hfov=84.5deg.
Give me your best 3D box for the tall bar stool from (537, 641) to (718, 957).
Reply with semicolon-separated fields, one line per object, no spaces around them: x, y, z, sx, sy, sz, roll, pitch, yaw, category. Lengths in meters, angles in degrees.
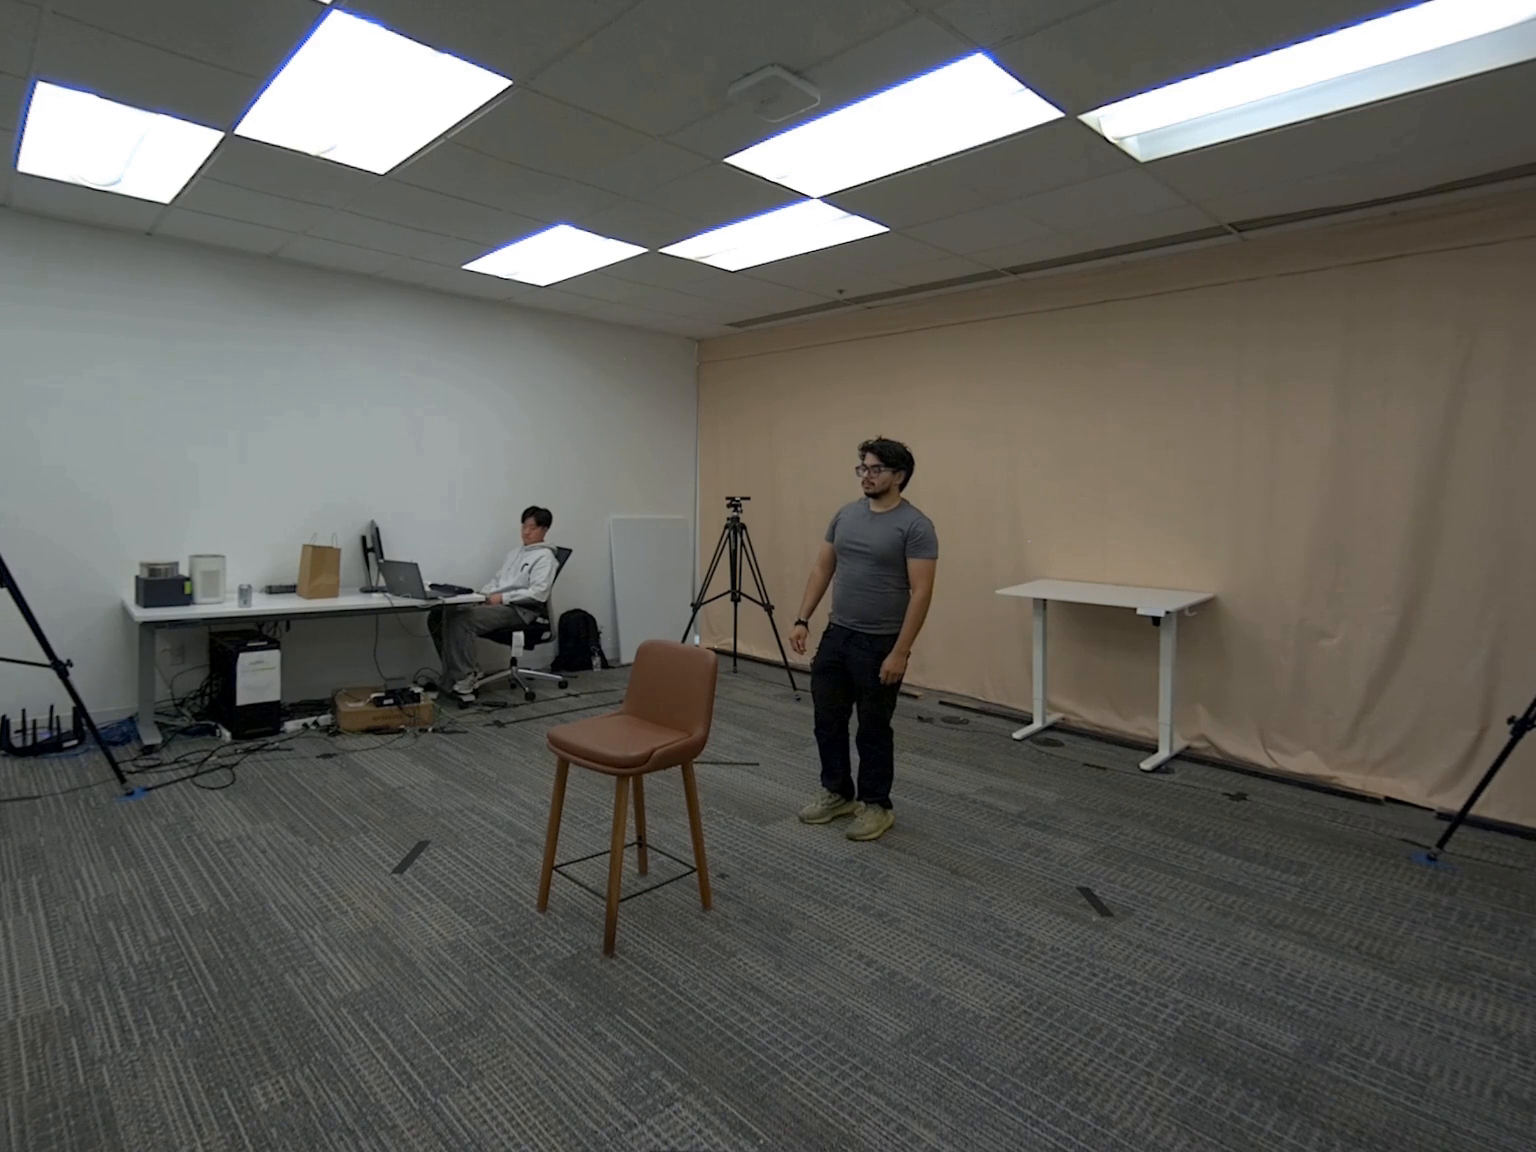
-0.468;0.691;2.812;0.468;0.889;0.456;4;3;45;tall bar stool
